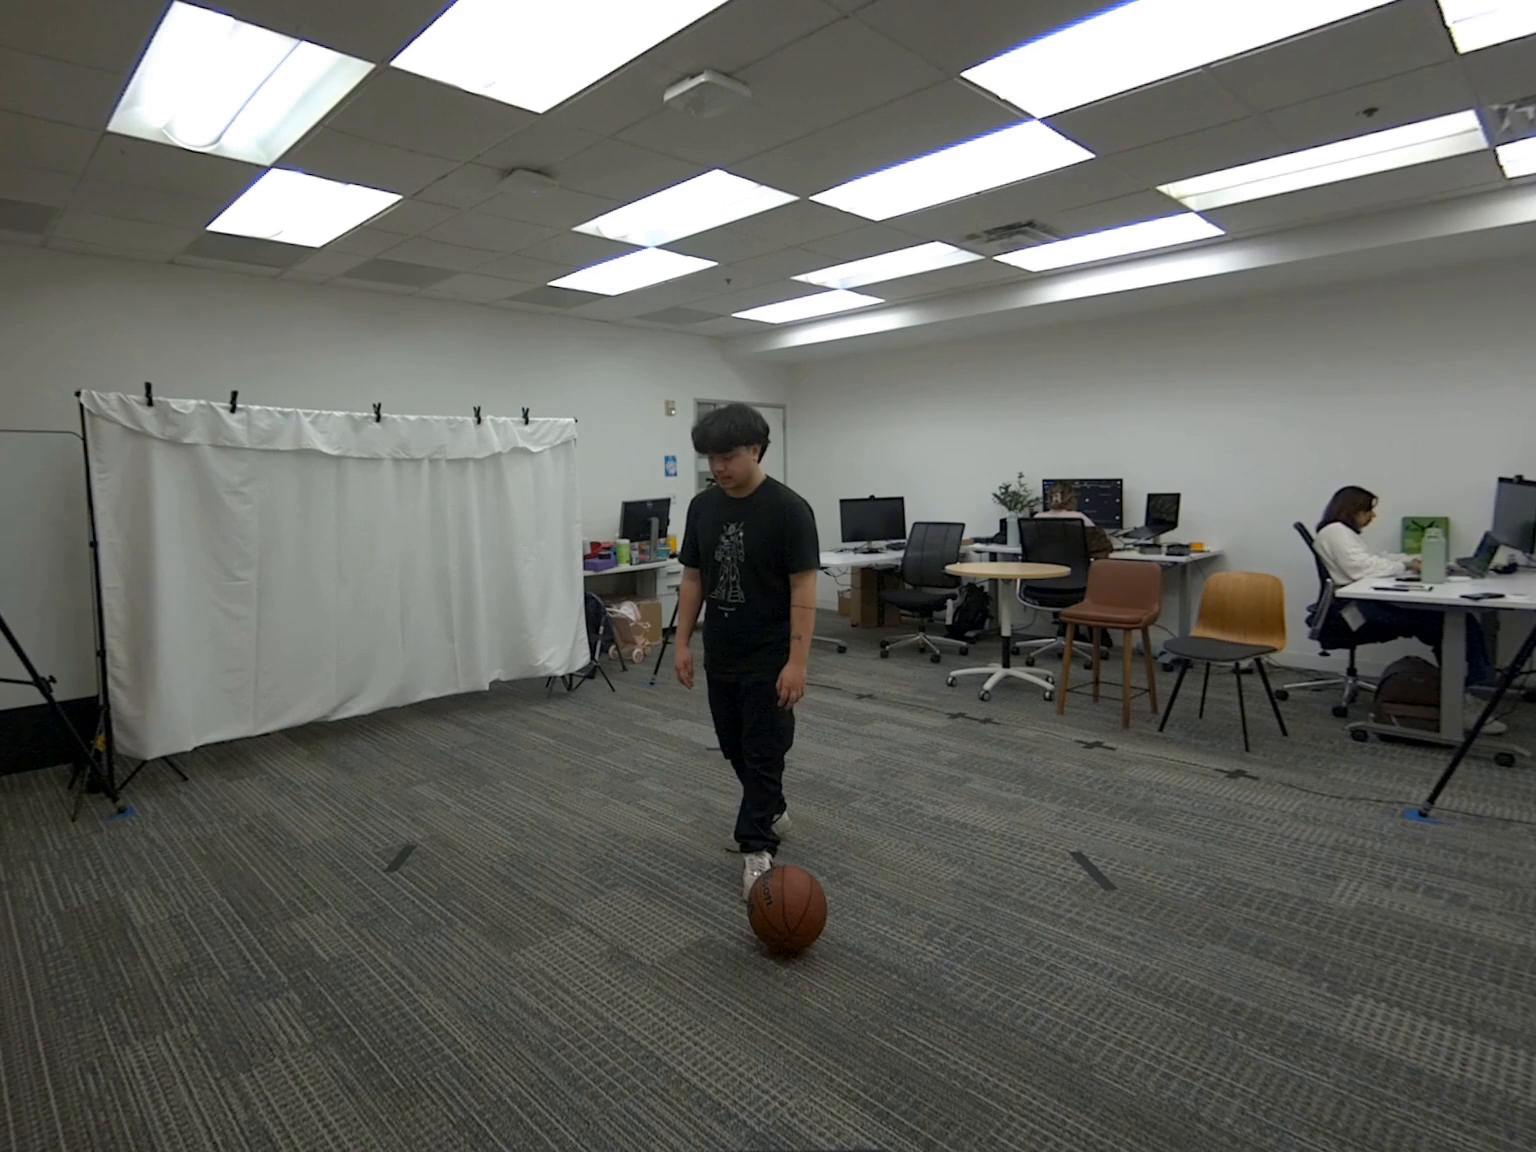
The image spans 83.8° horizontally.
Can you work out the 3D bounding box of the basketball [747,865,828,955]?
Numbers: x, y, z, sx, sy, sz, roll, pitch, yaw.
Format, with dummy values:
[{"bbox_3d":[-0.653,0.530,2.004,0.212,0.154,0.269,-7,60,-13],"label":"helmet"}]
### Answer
[{"bbox_3d":[0.062,0.984,2.545,0.236,0.235,0.237,-1,5,-2],"label":"basketball"}]
